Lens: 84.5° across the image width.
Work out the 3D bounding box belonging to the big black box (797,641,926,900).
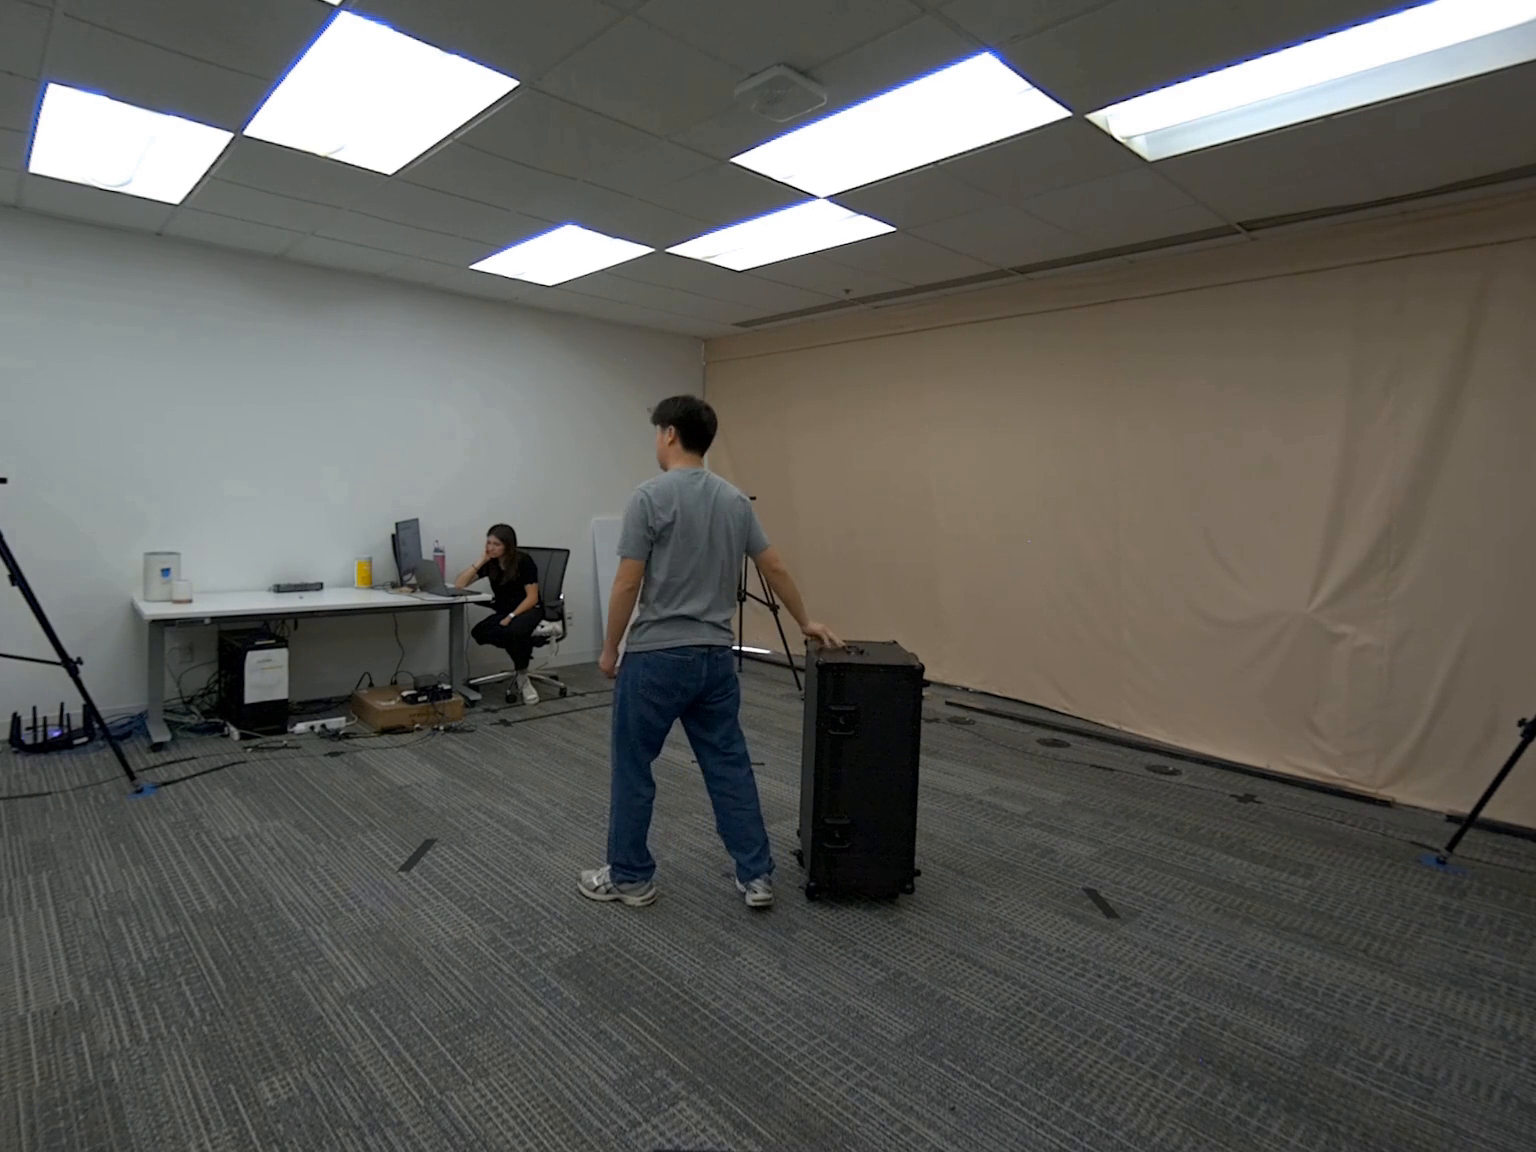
[{"bbox_3d":[0.327,0.638,3.049,0.396,0.859,0.523,1,3,-2],"label":"big black box"}]
